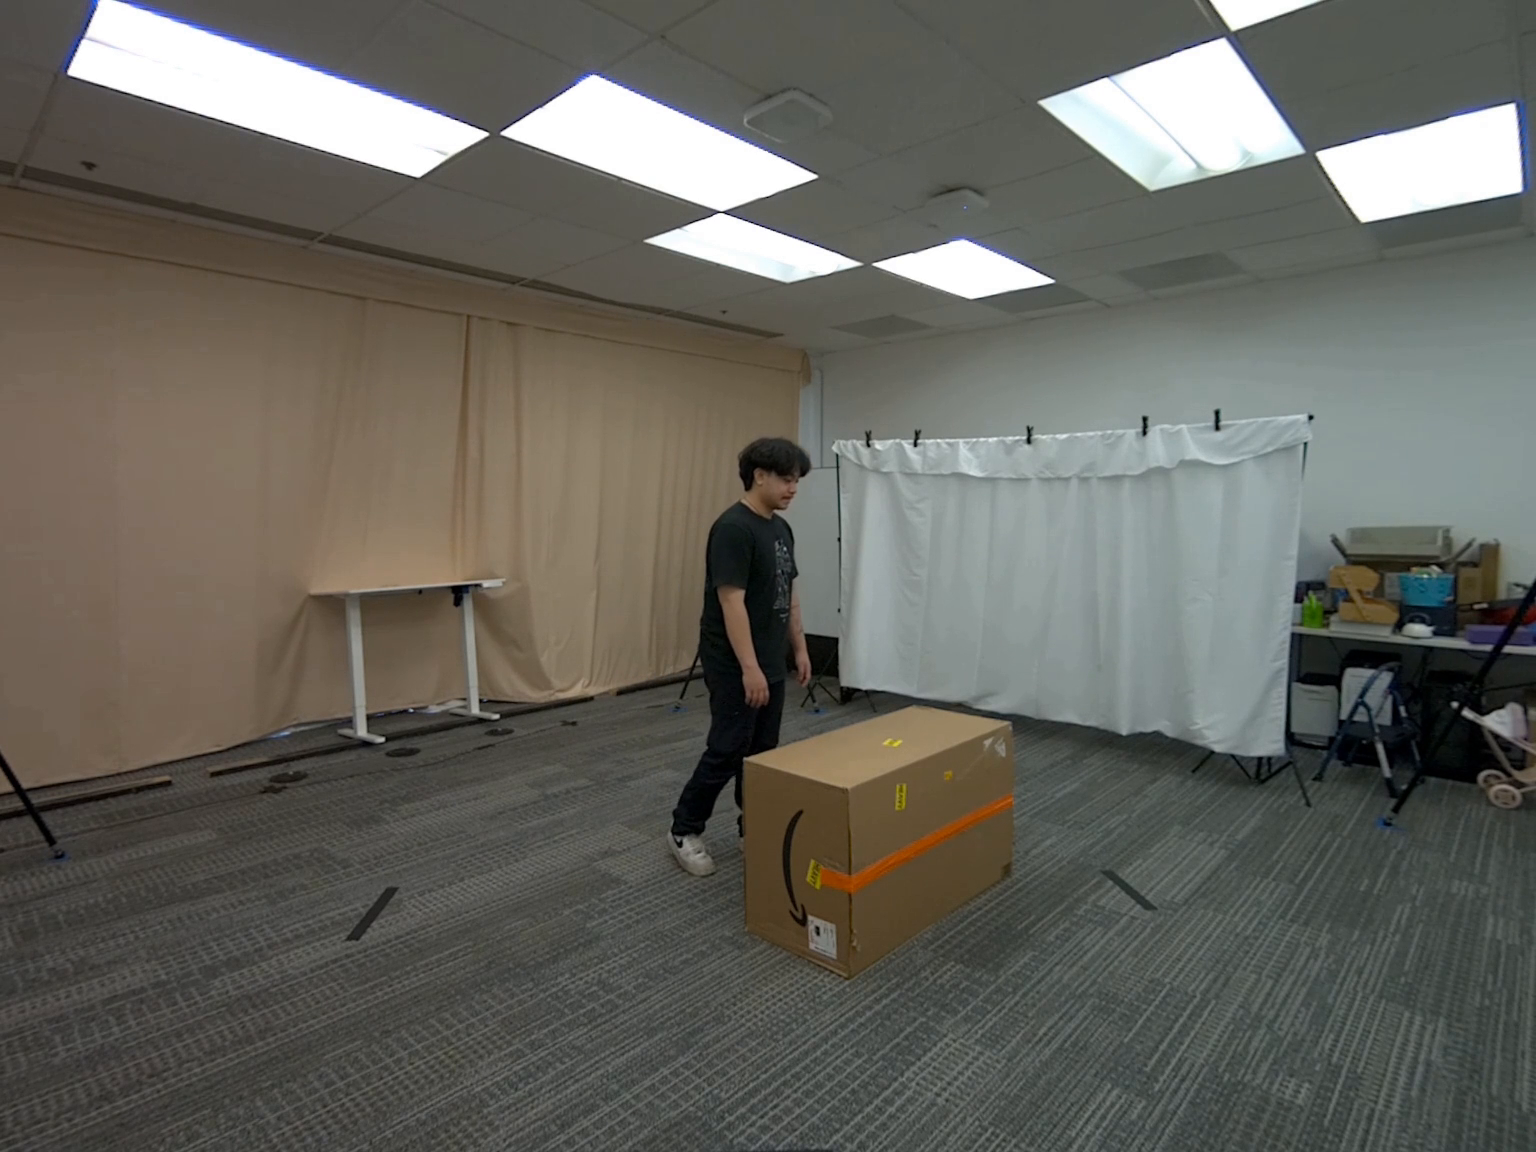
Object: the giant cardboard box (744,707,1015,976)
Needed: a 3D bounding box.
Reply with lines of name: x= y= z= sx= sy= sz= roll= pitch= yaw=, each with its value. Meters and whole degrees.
giant cardboard box: x=0.429 y=0.861 z=2.952 sx=0.462 sy=0.582 sz=0.996 roll=5 pitch=7 yaw=43
